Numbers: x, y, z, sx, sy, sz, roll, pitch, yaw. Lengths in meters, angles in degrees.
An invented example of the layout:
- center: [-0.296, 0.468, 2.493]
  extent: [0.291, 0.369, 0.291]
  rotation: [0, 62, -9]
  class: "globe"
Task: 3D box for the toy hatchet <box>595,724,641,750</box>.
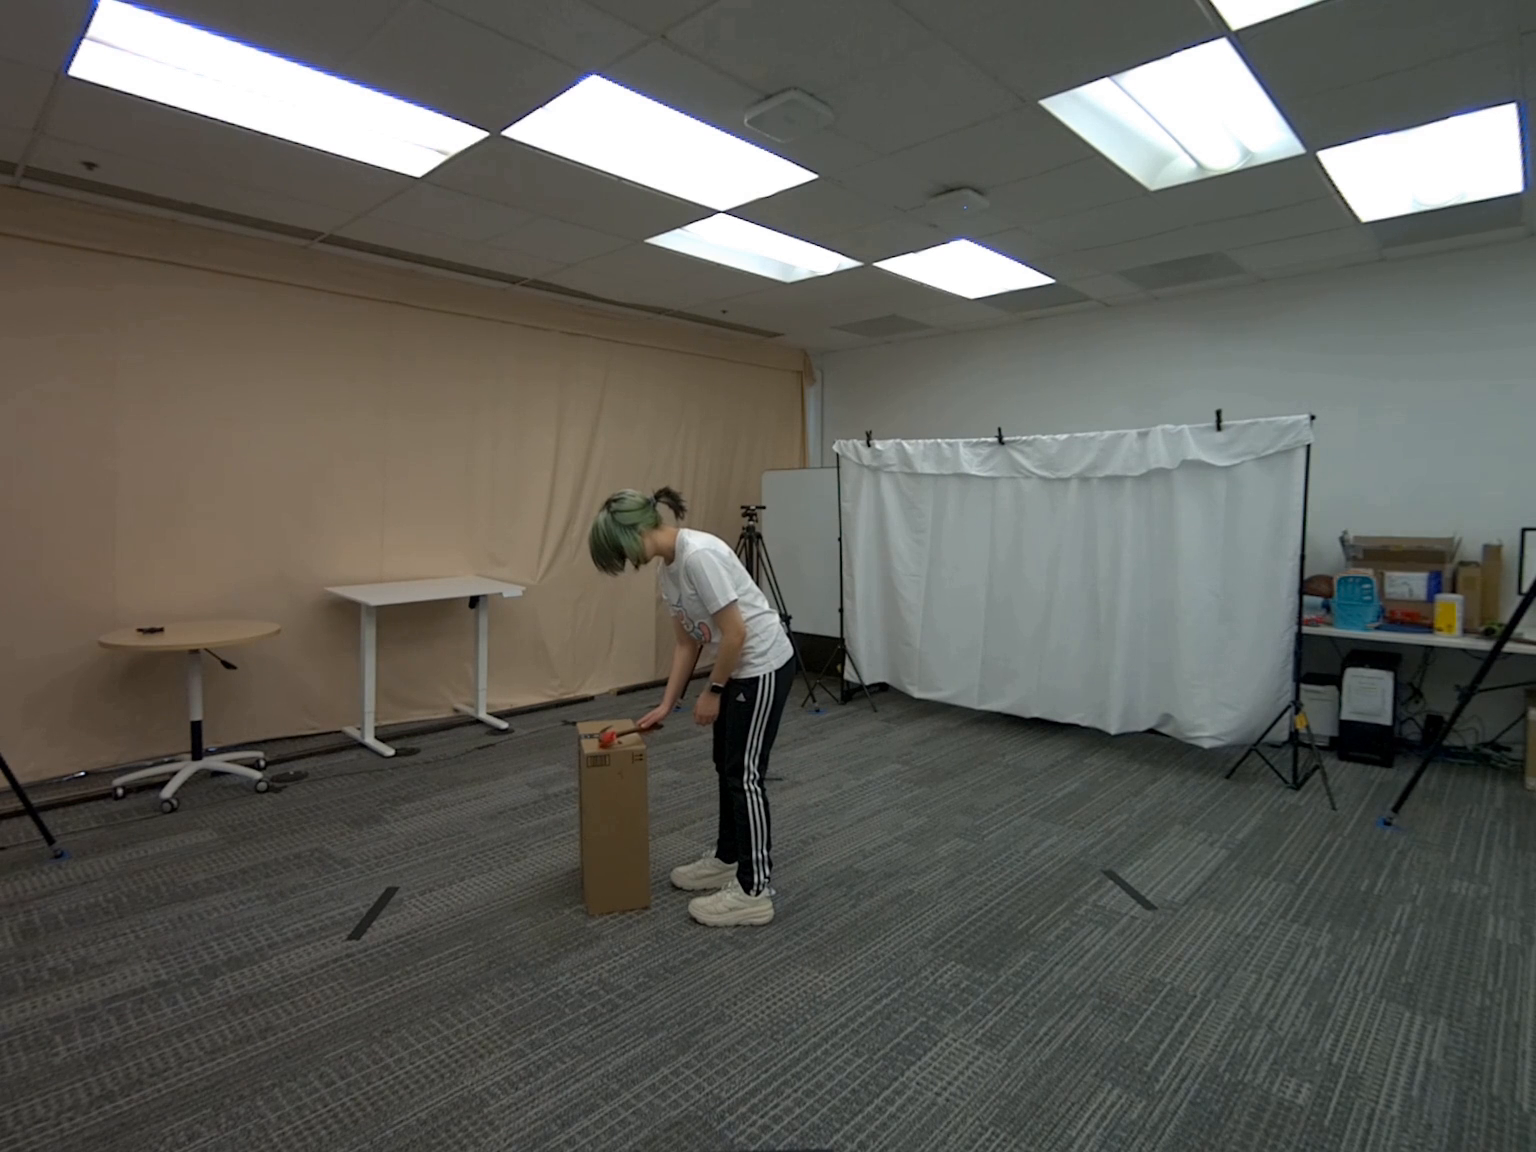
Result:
- center: [-0.489, 0.563, 2.949]
  extent: [0.132, 0.030, 0.261]
  rotation: [-39, -27, 31]
  class: "toy hatchet"
